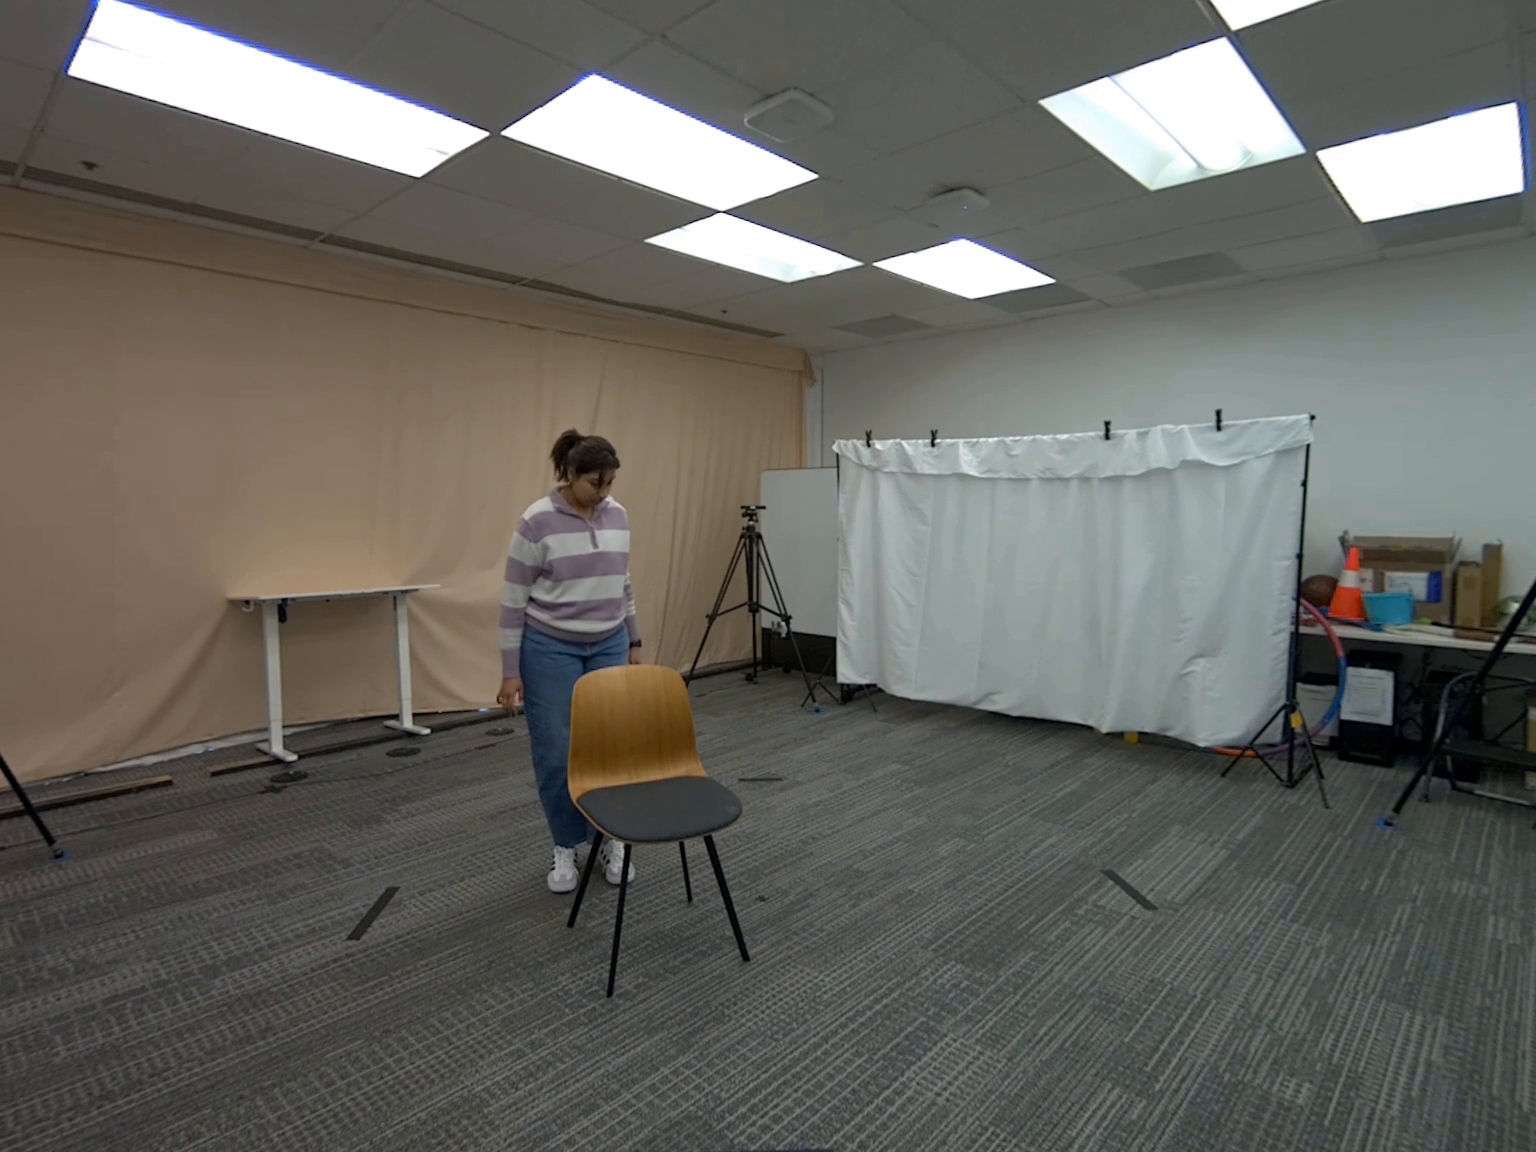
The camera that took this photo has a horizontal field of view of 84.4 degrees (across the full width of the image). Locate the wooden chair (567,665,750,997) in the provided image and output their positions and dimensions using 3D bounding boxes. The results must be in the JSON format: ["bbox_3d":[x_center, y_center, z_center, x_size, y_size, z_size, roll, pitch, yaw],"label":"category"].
[{"bbox_3d":[-0.354,0.748,2.643,0.466,0.877,0.536,-2,0,-27],"label":"wooden chair"}]
